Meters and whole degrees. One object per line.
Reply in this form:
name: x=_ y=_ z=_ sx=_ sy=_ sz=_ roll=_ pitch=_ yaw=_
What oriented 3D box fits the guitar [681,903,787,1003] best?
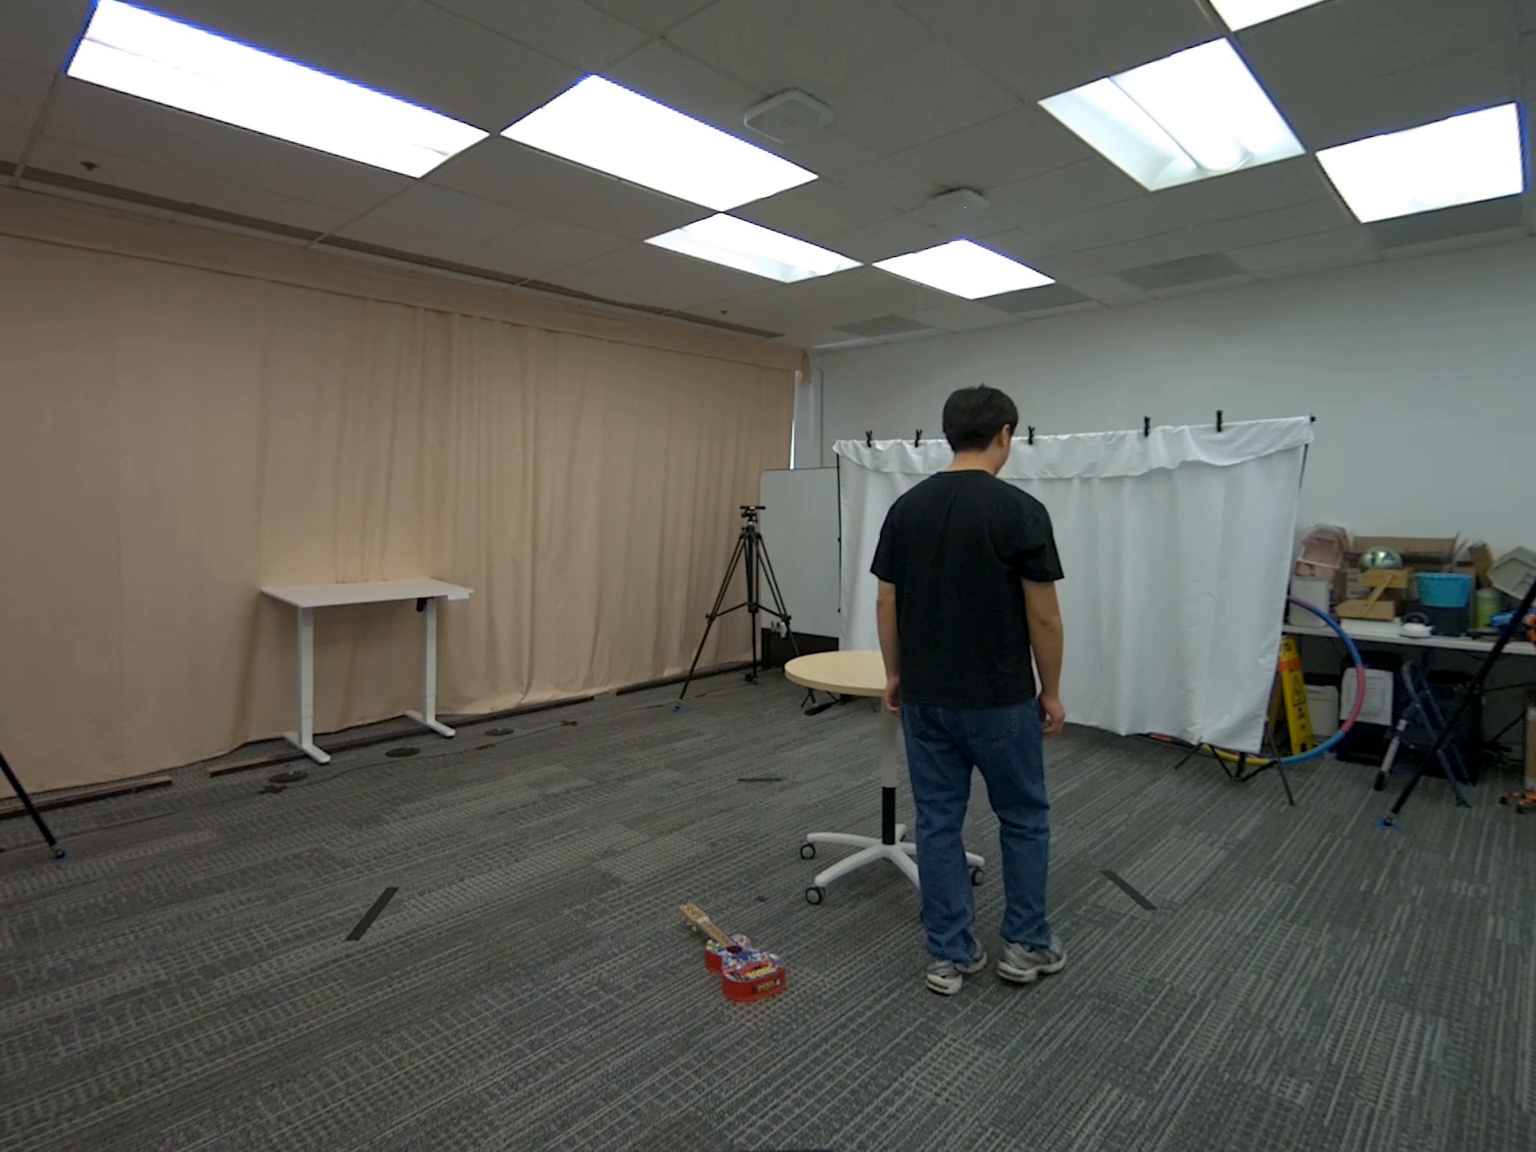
guitar: x=-0.112 y=1.143 z=2.605 sx=0.189 sy=0.070 sz=0.510 roll=-3 pitch=6 yaw=-23
